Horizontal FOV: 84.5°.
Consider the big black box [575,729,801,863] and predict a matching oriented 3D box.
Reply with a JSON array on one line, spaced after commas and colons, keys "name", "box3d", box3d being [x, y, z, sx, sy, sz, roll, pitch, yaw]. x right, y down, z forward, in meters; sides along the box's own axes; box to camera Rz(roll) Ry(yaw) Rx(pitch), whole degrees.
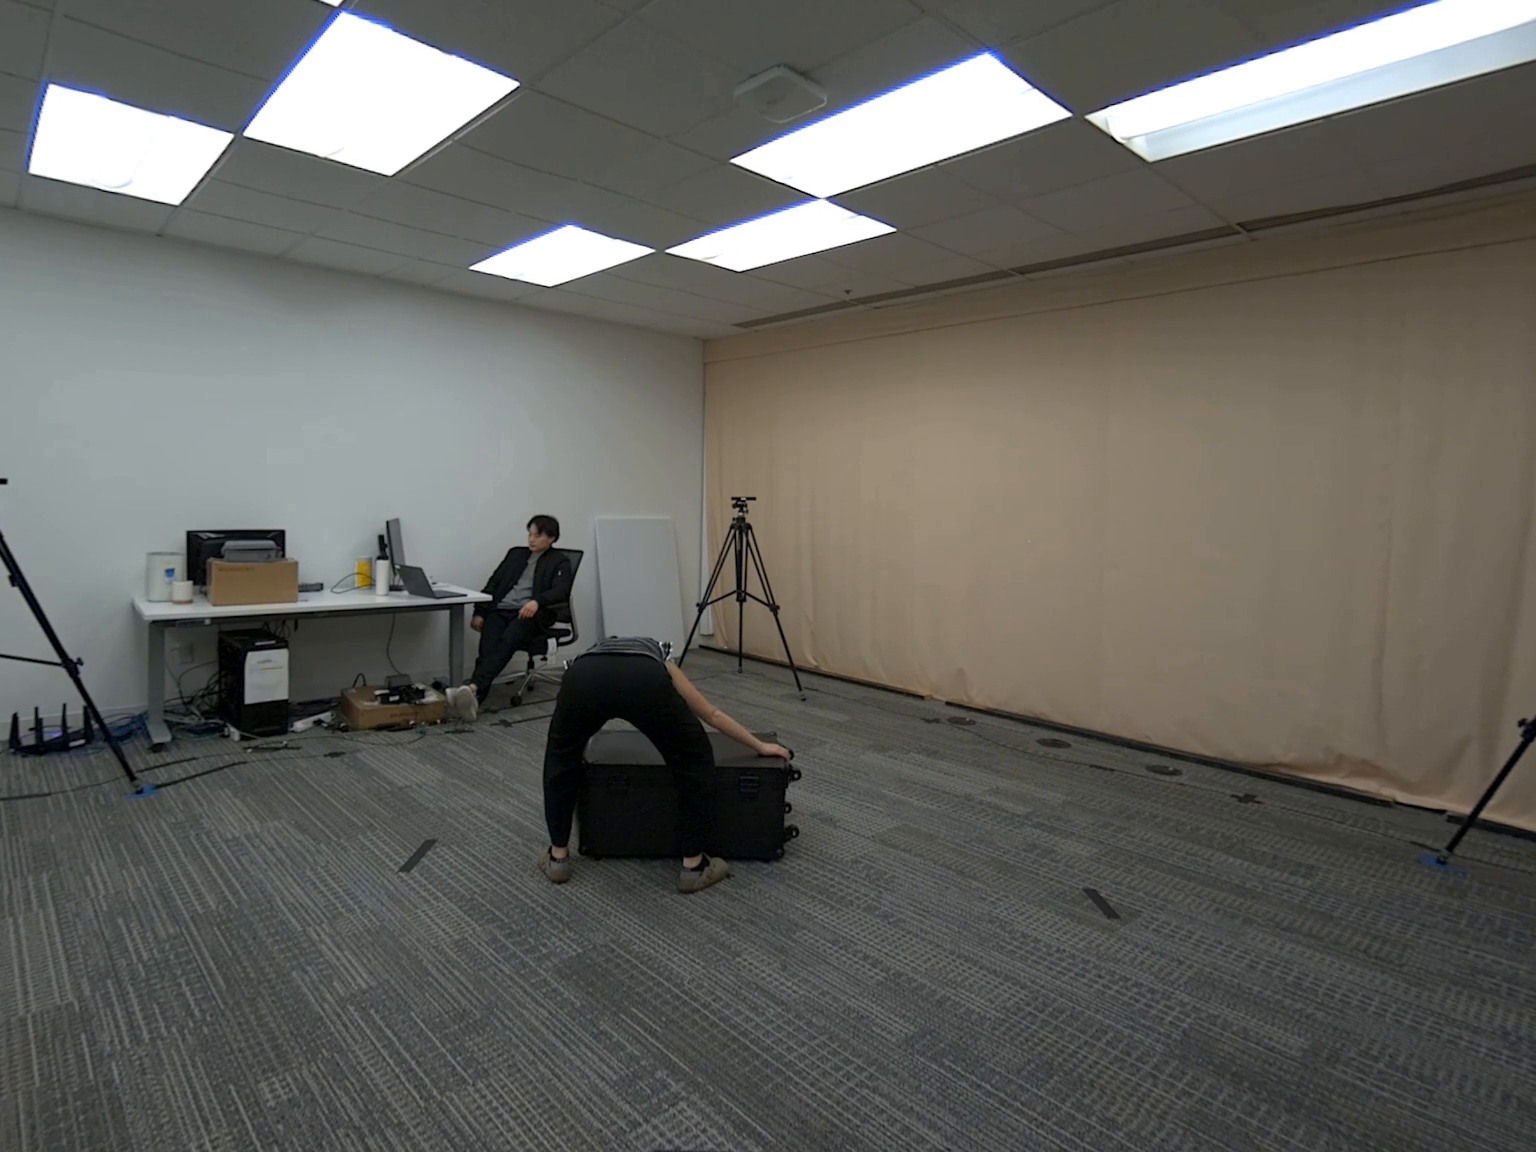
[{"name": "big black box", "box3d": [-0.314, 0.881, 3.437, 0.859, 0.395, 0.524, 1, 5, -3]}]
